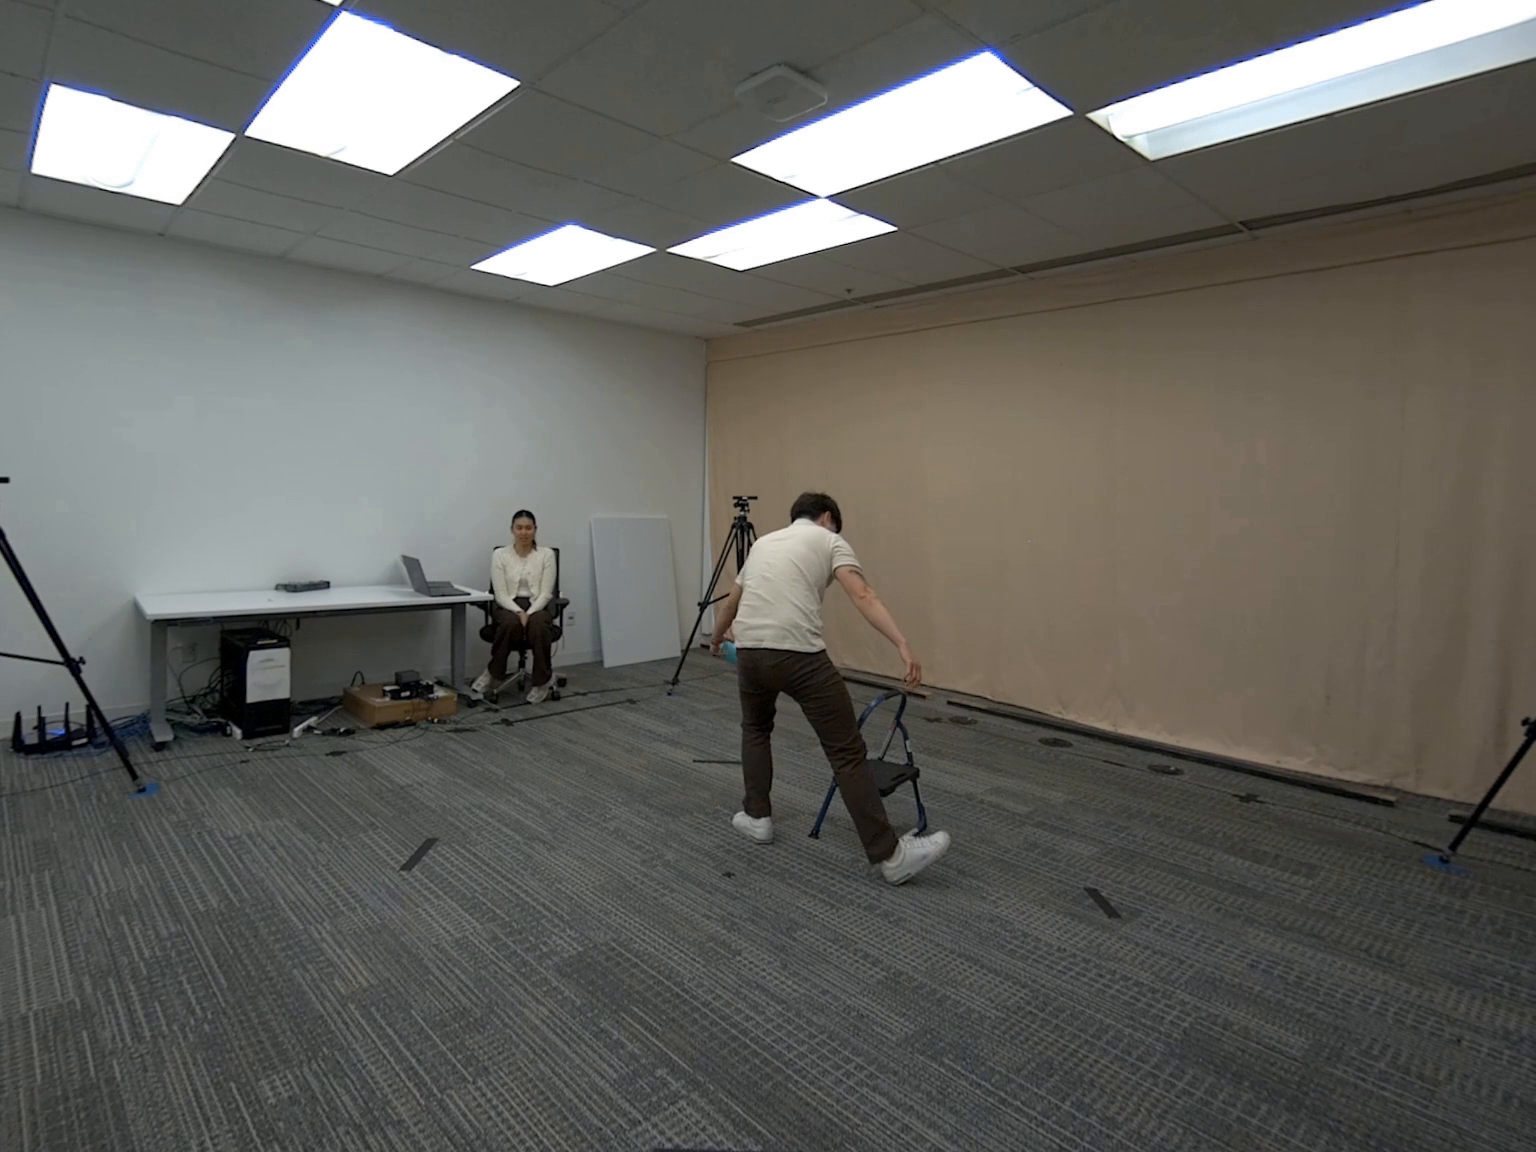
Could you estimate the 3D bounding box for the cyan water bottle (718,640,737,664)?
[{"bbox_3d":[-0.094,0.398,3.930,0.282,0.092,0.093,26,2,-5],"label":"cyan water bottle"}]
